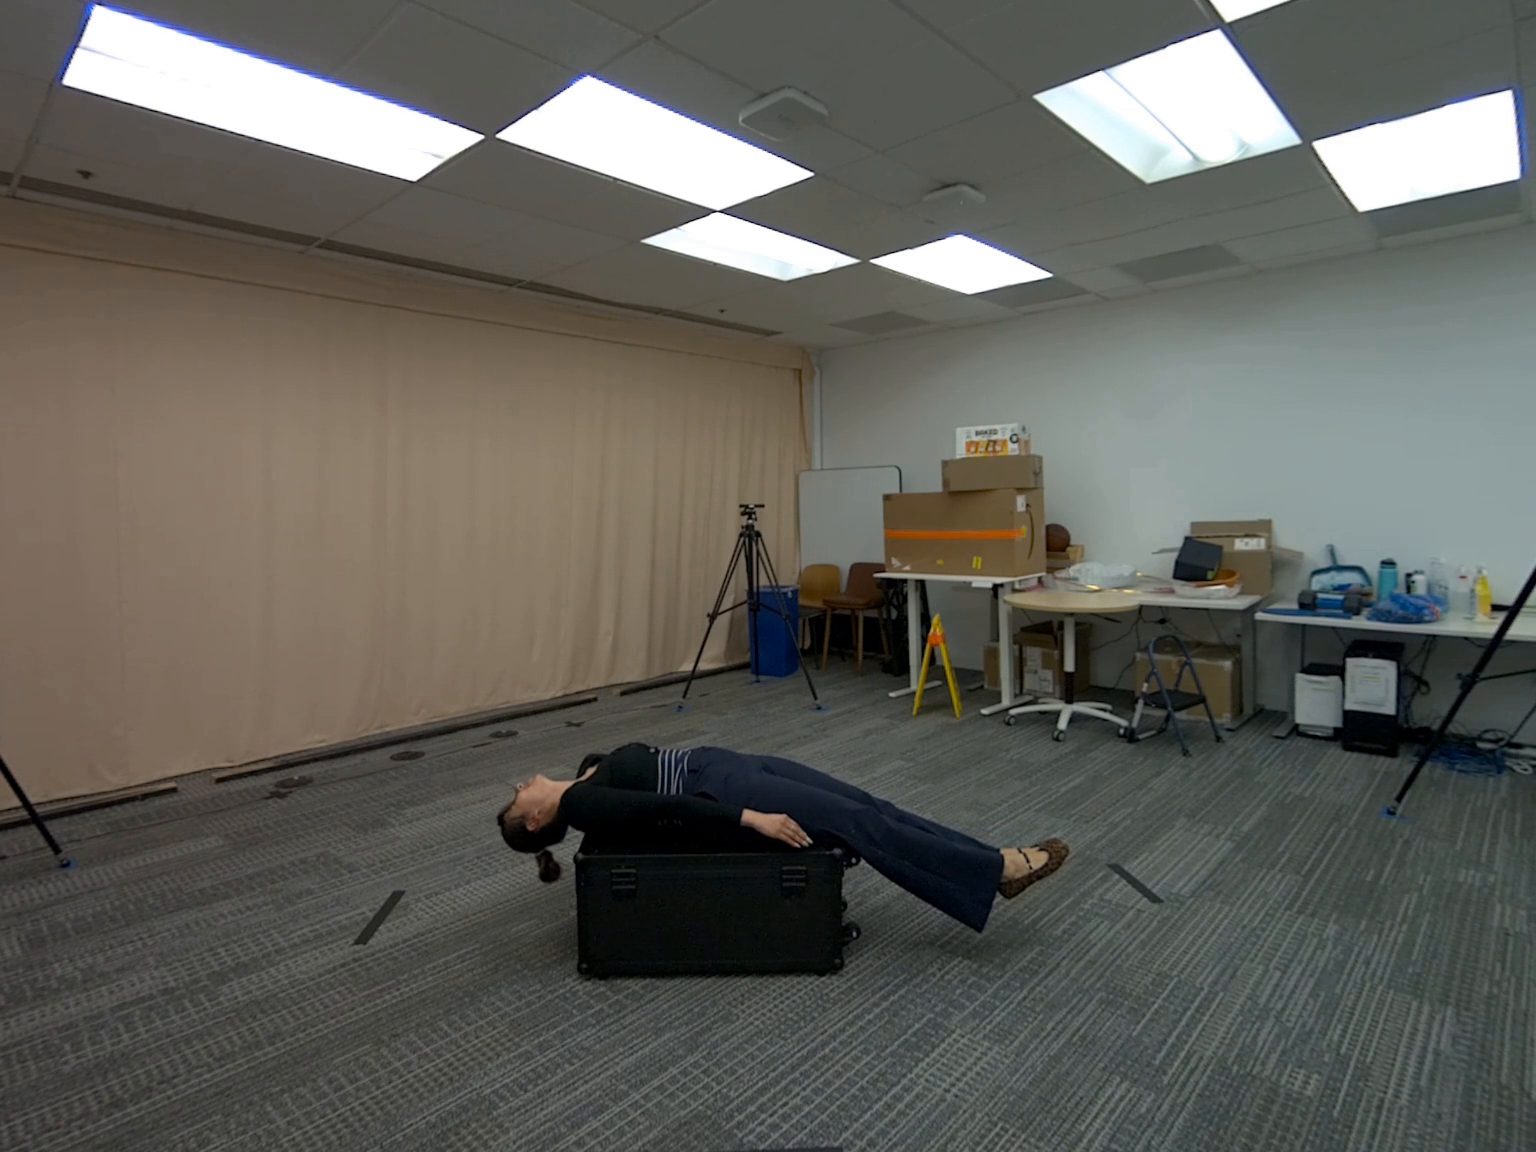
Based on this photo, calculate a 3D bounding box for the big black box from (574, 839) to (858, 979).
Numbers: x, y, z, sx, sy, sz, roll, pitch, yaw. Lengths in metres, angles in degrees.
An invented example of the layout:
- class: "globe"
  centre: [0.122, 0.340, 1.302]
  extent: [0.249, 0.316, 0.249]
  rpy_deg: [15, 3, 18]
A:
- class: "big black box"
  centre: [-0.148, 0.973, 2.695]
  extent: [0.861, 0.395, 0.523]
  rpy_deg: [-2, 3, -1]
